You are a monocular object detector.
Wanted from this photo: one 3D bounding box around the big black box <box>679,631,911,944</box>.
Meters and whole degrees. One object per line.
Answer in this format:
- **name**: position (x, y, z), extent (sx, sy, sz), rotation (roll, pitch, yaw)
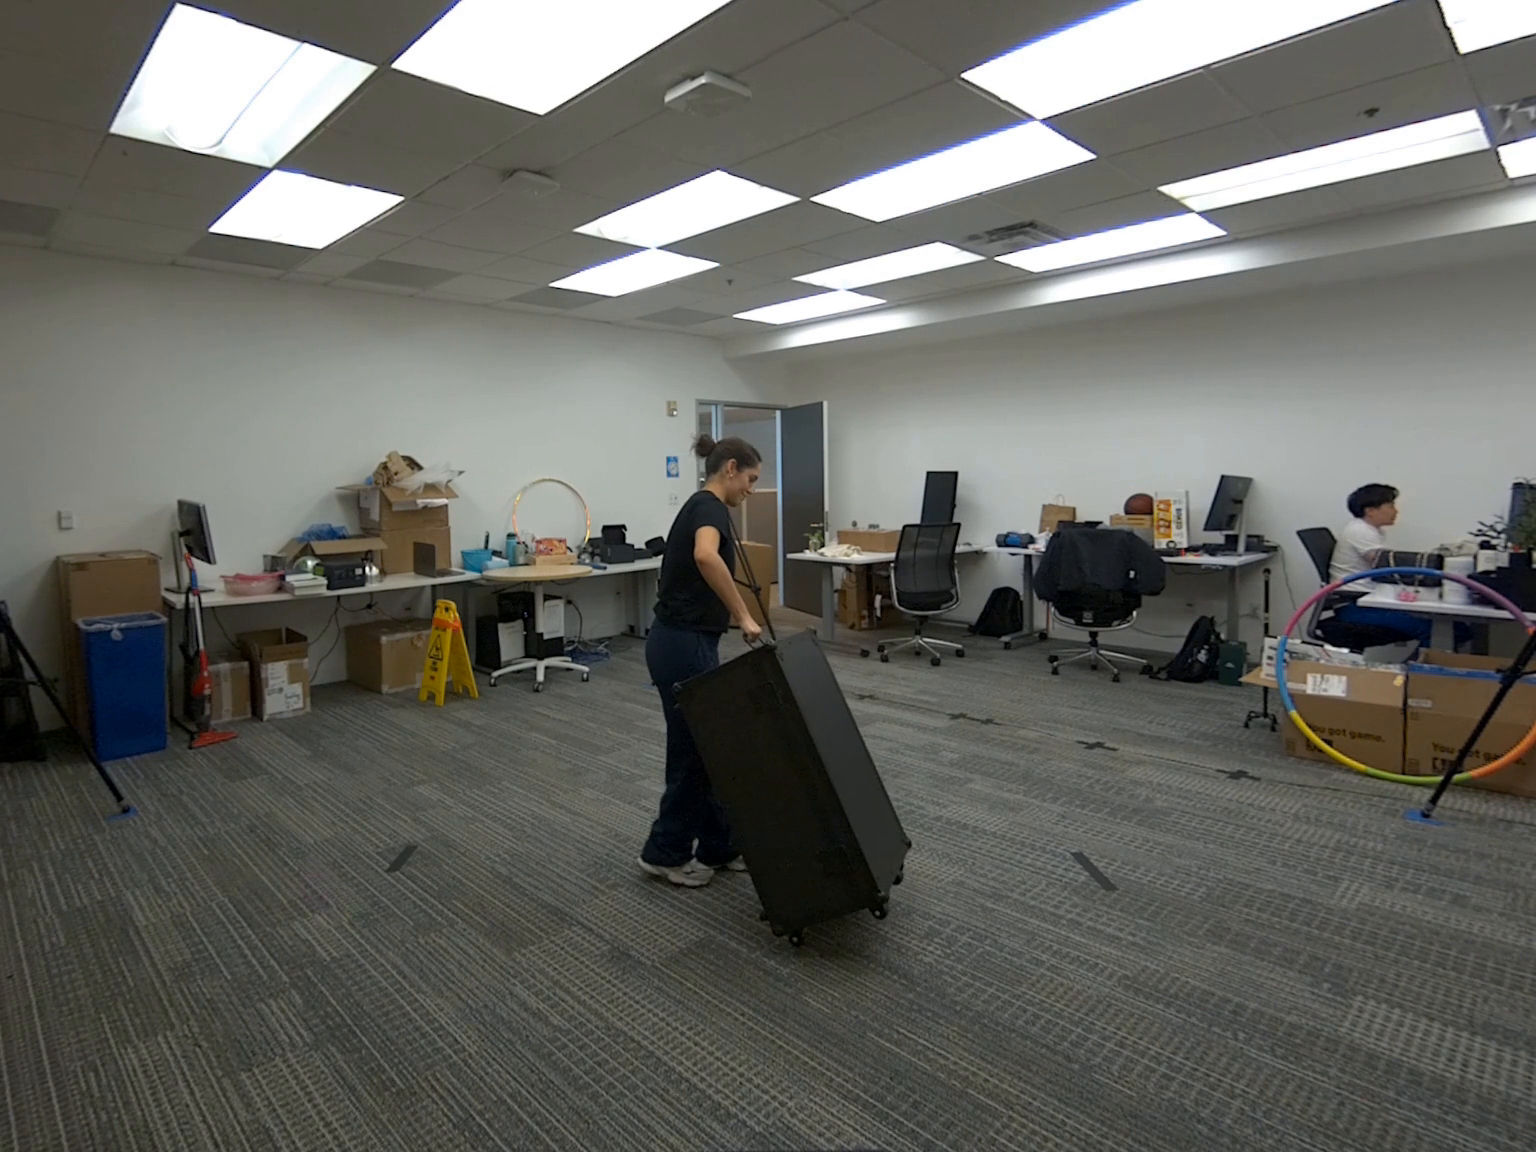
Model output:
- **big black box**: position (0.089, 0.648, 2.712), extent (0.399, 0.872, 0.511), rotation (-28, -9, 17)
